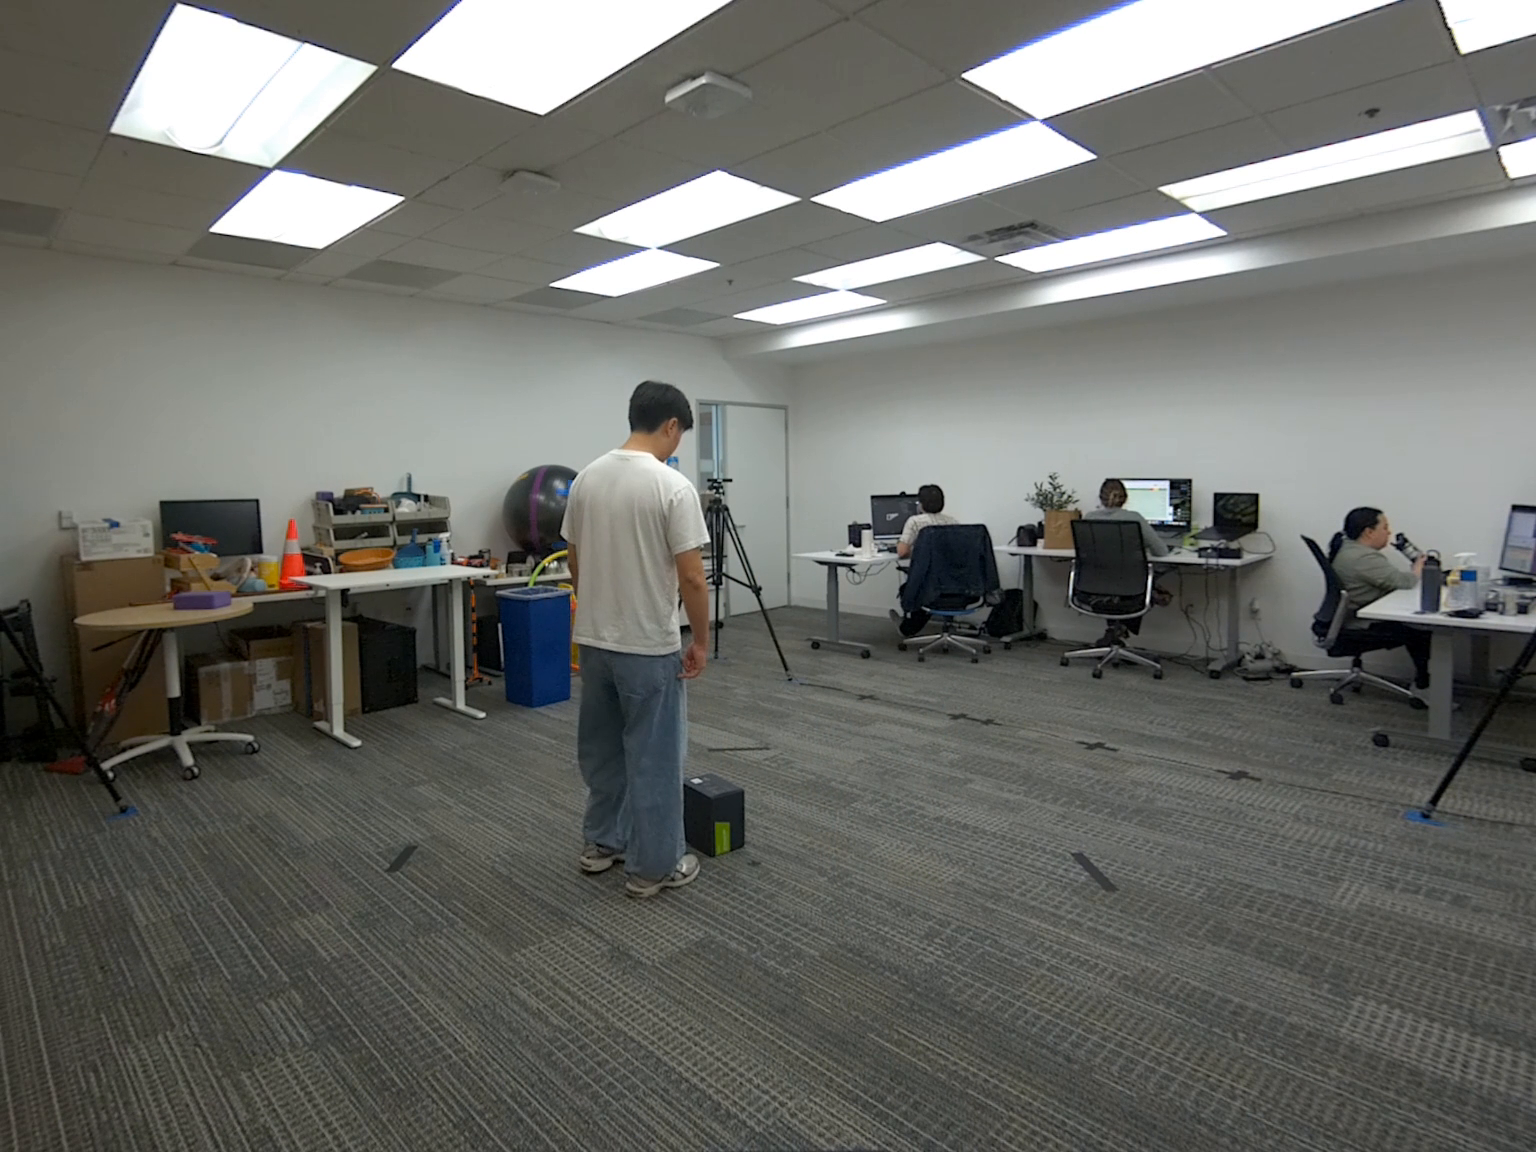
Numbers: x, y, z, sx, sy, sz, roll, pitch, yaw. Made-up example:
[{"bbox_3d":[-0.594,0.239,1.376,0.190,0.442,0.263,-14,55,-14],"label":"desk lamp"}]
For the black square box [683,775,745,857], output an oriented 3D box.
[{"bbox_3d":[-0.210,0.909,3.272,0.152,0.227,0.223,-4,6,-37],"label":"black square box"}]
